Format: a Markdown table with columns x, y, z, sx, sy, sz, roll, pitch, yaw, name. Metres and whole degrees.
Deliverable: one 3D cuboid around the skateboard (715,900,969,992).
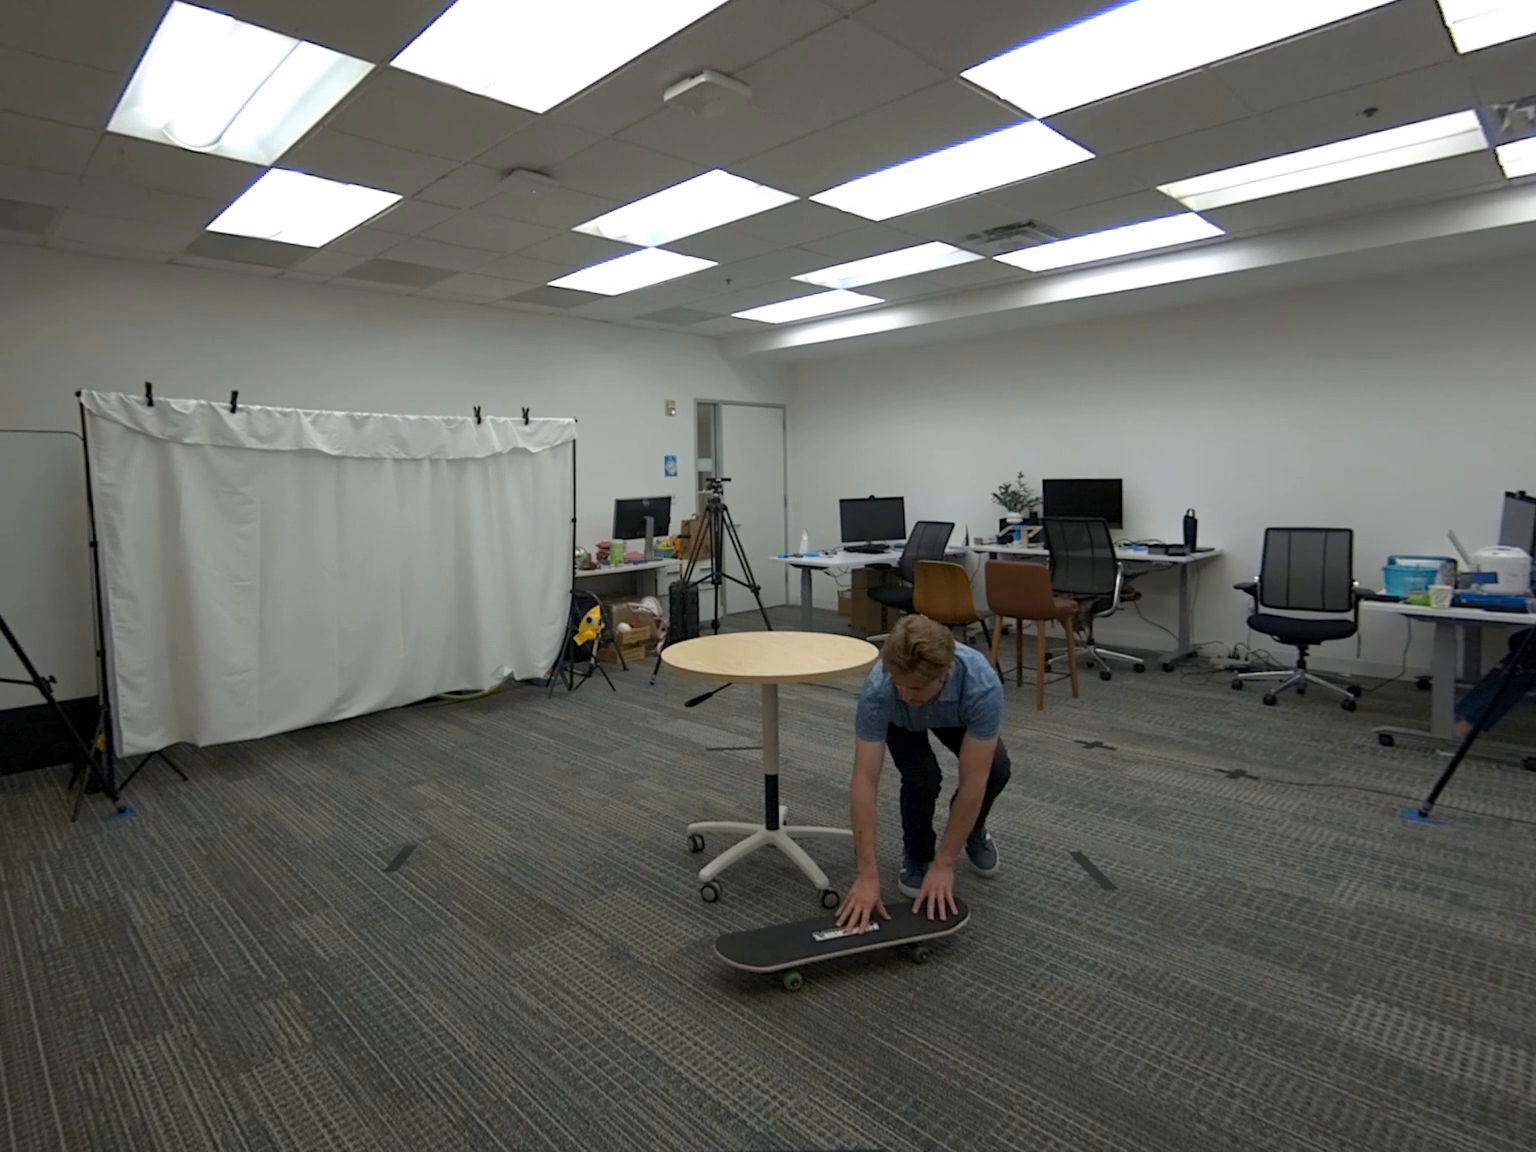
| x | y | z | sx | sy | sz | roll | pitch | yaw | name |
| --- | --- | --- | --- | --- | --- | --- | --- | --- | --- |
| 0.231 | 1.054 | 2.473 | 0.773 | 0.110 | 0.197 | -3 | 5 | -17 | skateboard |
